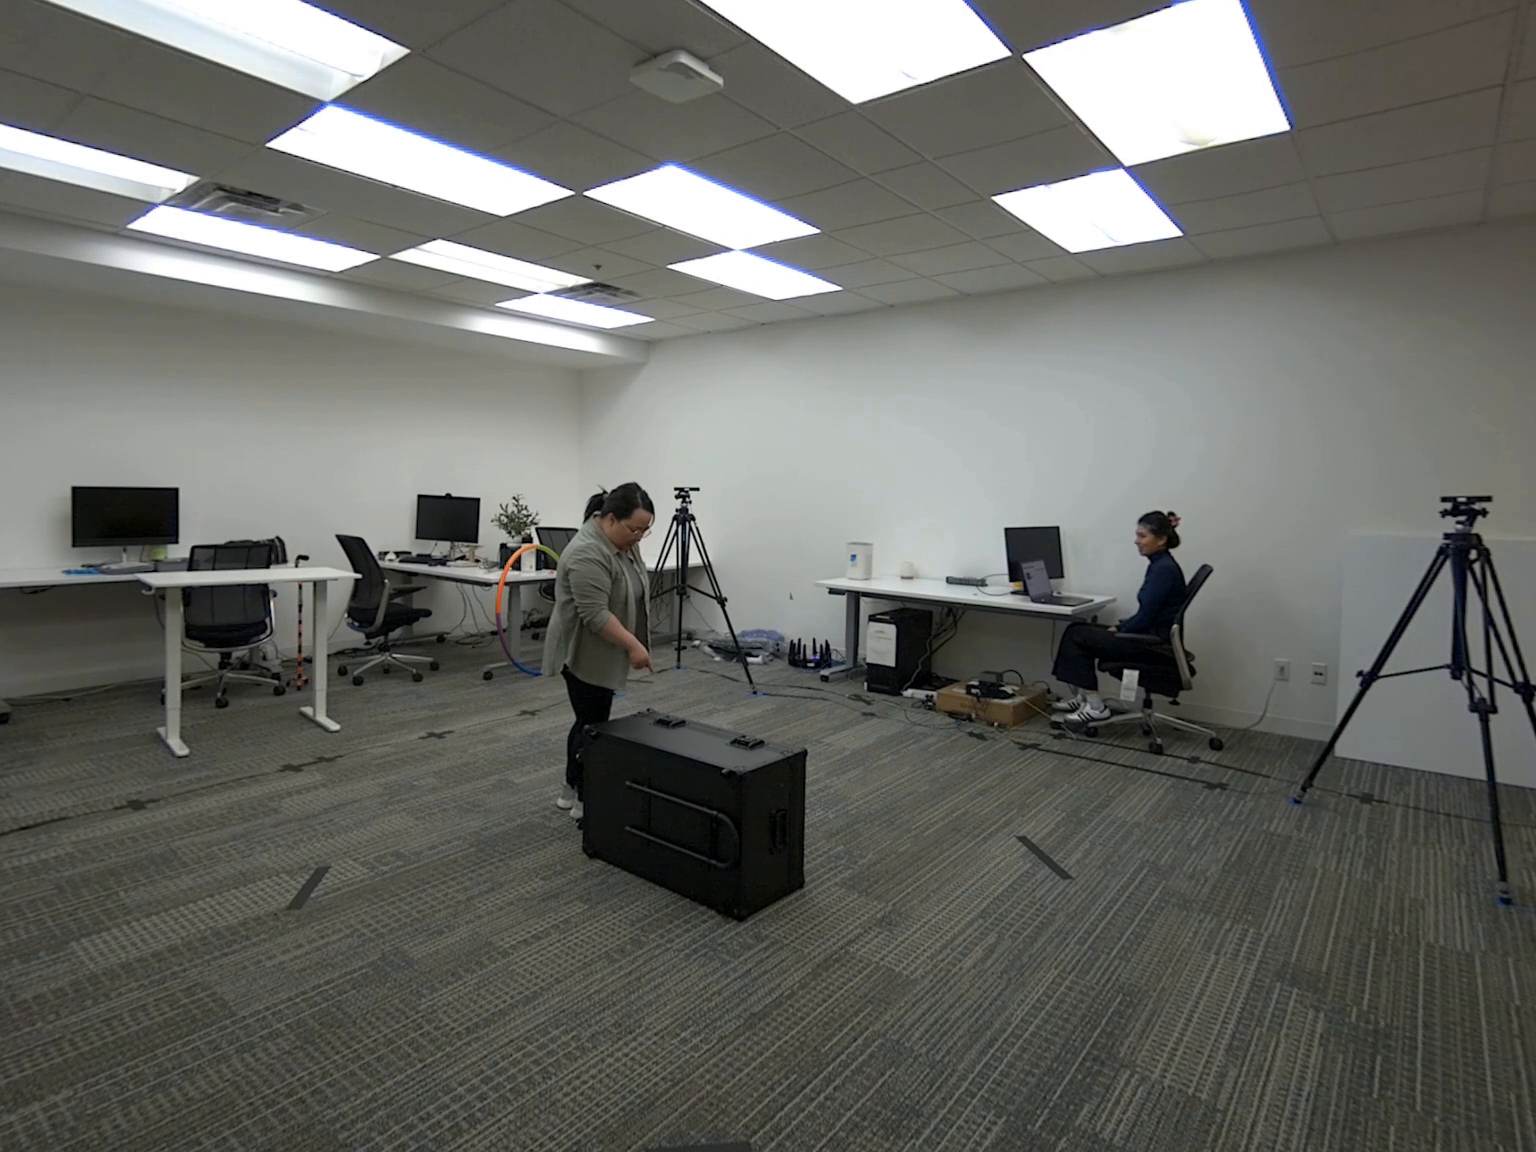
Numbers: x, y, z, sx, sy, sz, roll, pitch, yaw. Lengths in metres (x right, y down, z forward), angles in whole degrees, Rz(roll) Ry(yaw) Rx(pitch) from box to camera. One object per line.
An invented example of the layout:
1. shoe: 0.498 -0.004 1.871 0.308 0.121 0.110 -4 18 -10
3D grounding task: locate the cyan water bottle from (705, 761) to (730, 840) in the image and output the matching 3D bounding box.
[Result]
1. cyan water bottle: -0.206 0.897 3.380 0.092 0.283 0.092 0 1 -2
